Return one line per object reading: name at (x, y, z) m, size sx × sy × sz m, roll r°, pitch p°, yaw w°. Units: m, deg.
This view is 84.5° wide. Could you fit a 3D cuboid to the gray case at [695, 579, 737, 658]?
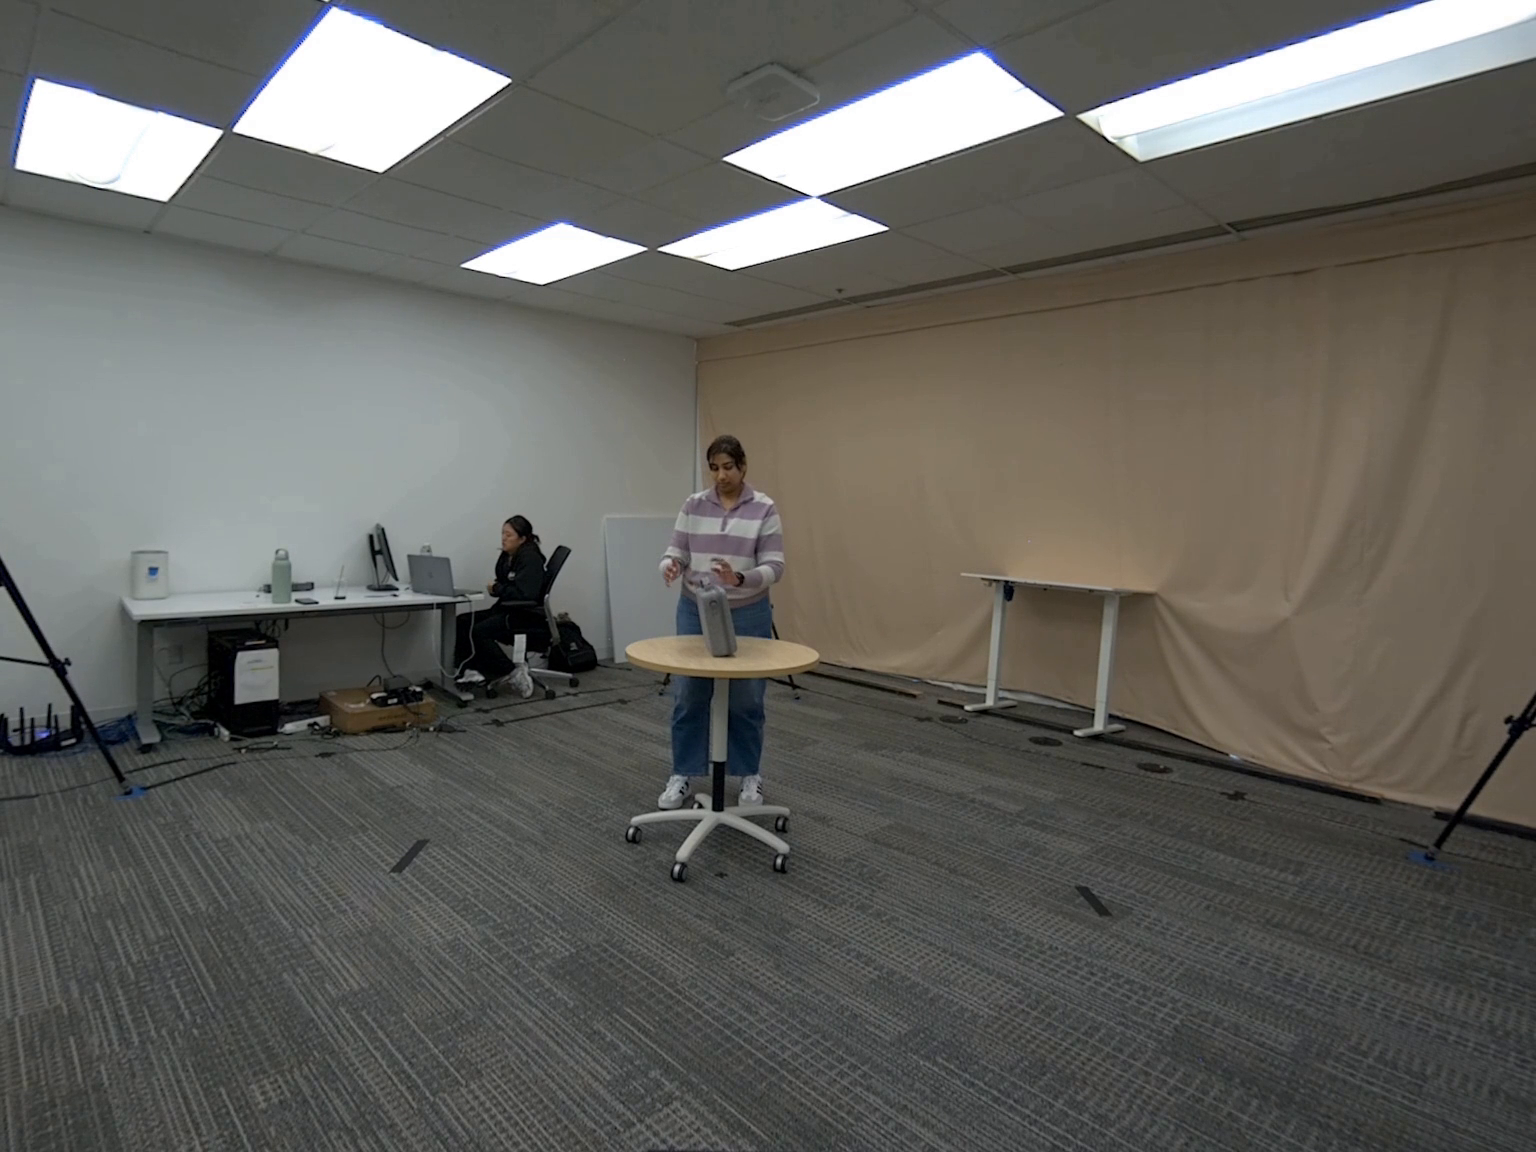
gray case at (-0.212, 0.171, 3.303) m, size 0.104 × 0.260 × 0.259 m, roll -10°, pitch 5°, yaw -7°
